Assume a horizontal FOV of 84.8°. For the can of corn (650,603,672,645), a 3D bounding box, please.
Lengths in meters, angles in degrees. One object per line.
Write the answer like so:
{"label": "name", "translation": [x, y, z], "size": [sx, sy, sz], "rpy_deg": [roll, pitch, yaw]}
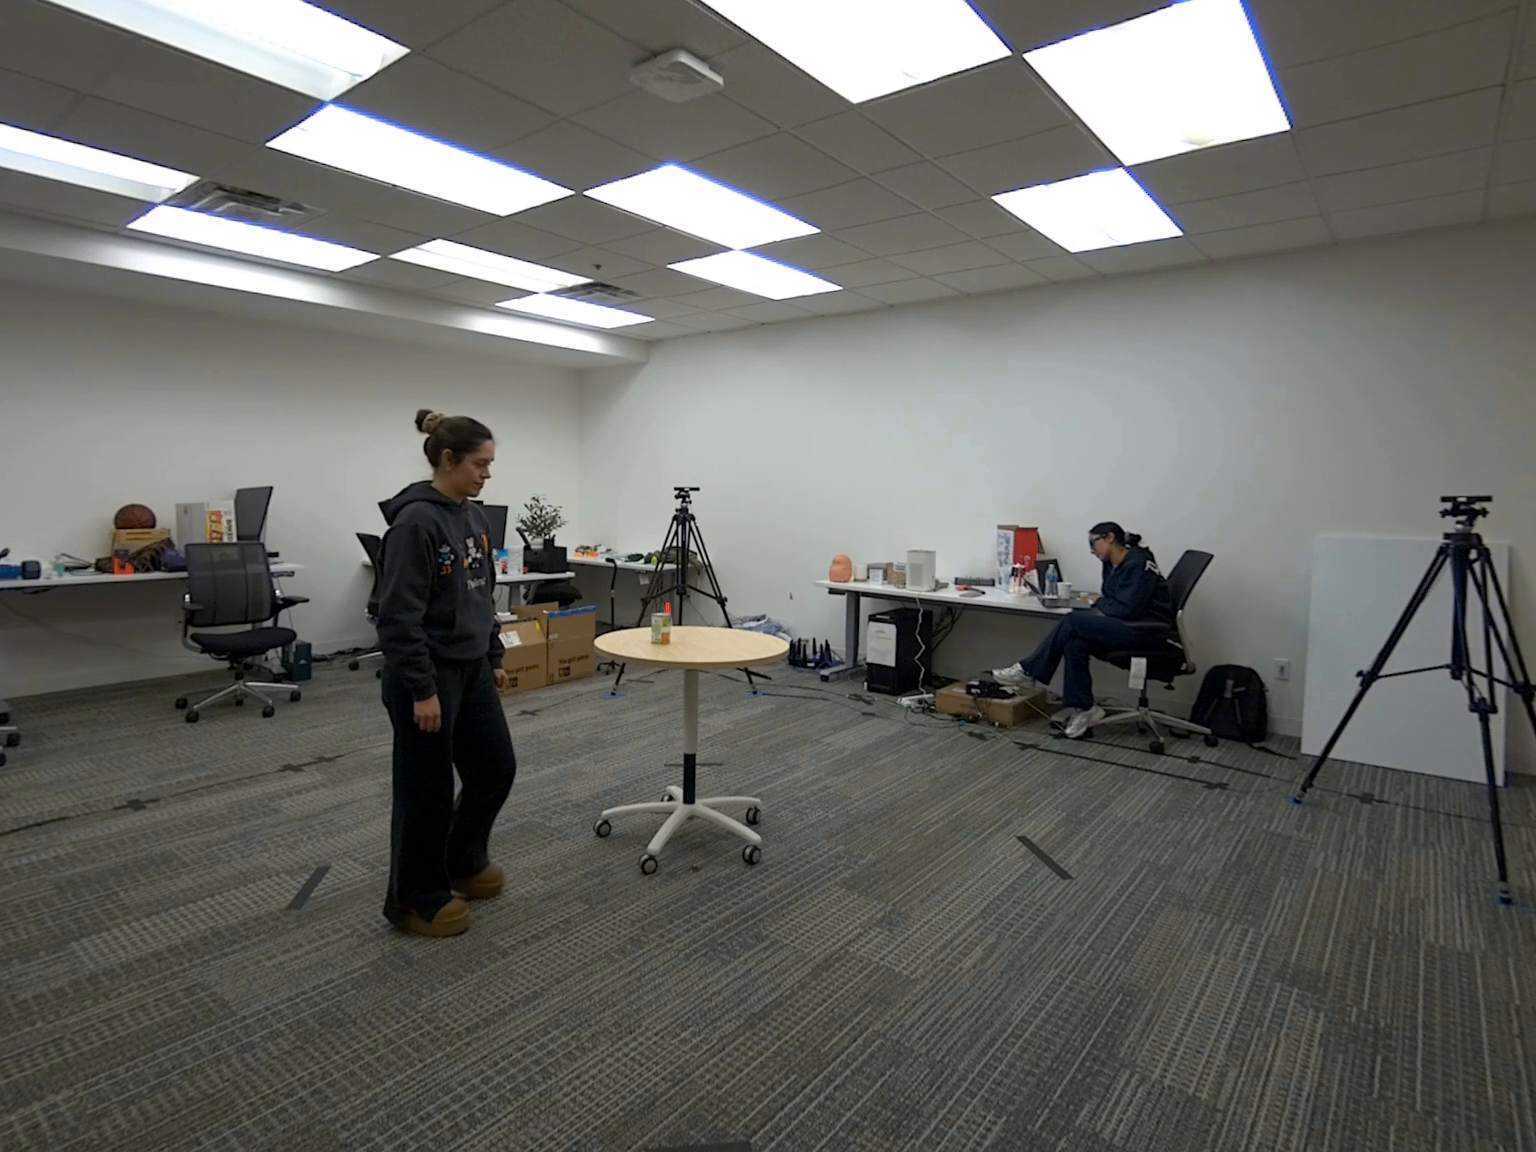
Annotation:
{"label": "can of corn", "translation": [-0.425, 0.202, 3.327], "size": [0.074, 0.111, 0.074], "rpy_deg": [3, 2, -2]}
